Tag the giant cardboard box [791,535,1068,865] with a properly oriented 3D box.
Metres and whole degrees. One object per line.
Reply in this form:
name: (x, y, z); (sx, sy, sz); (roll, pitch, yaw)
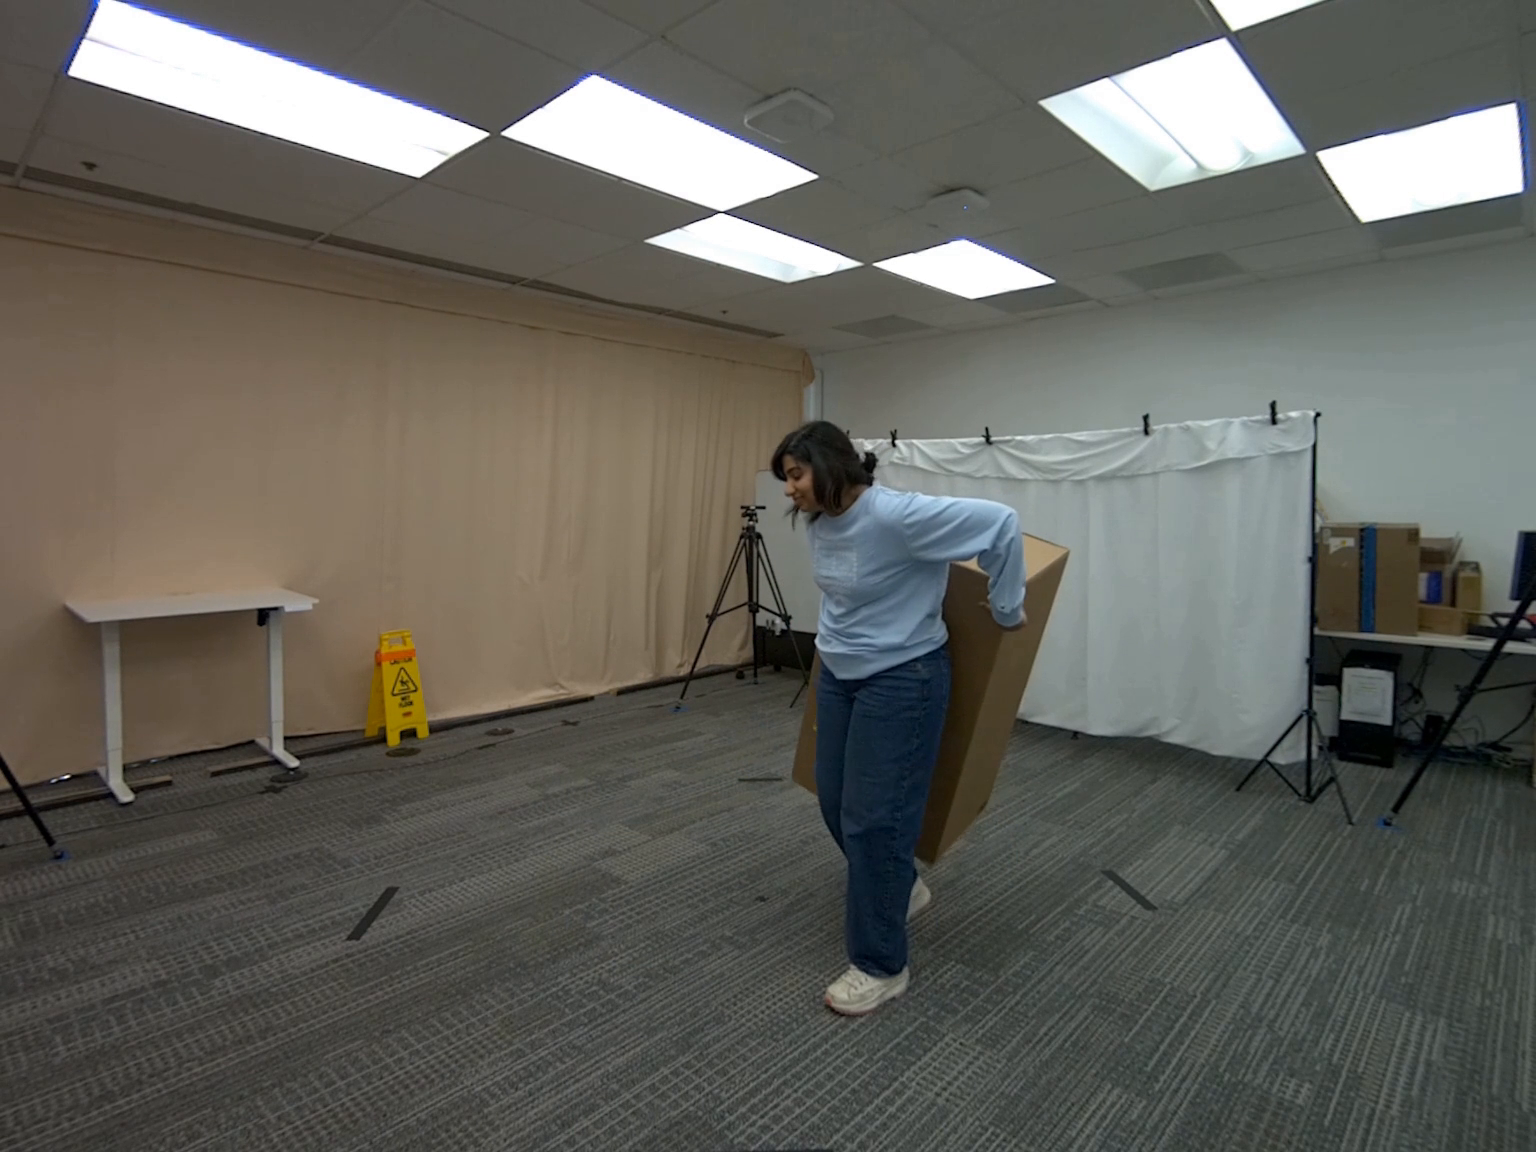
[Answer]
giant cardboard box: (0.517, 0.327, 2.817); (0.597, 1.015, 0.416); (26, 29, 32)
